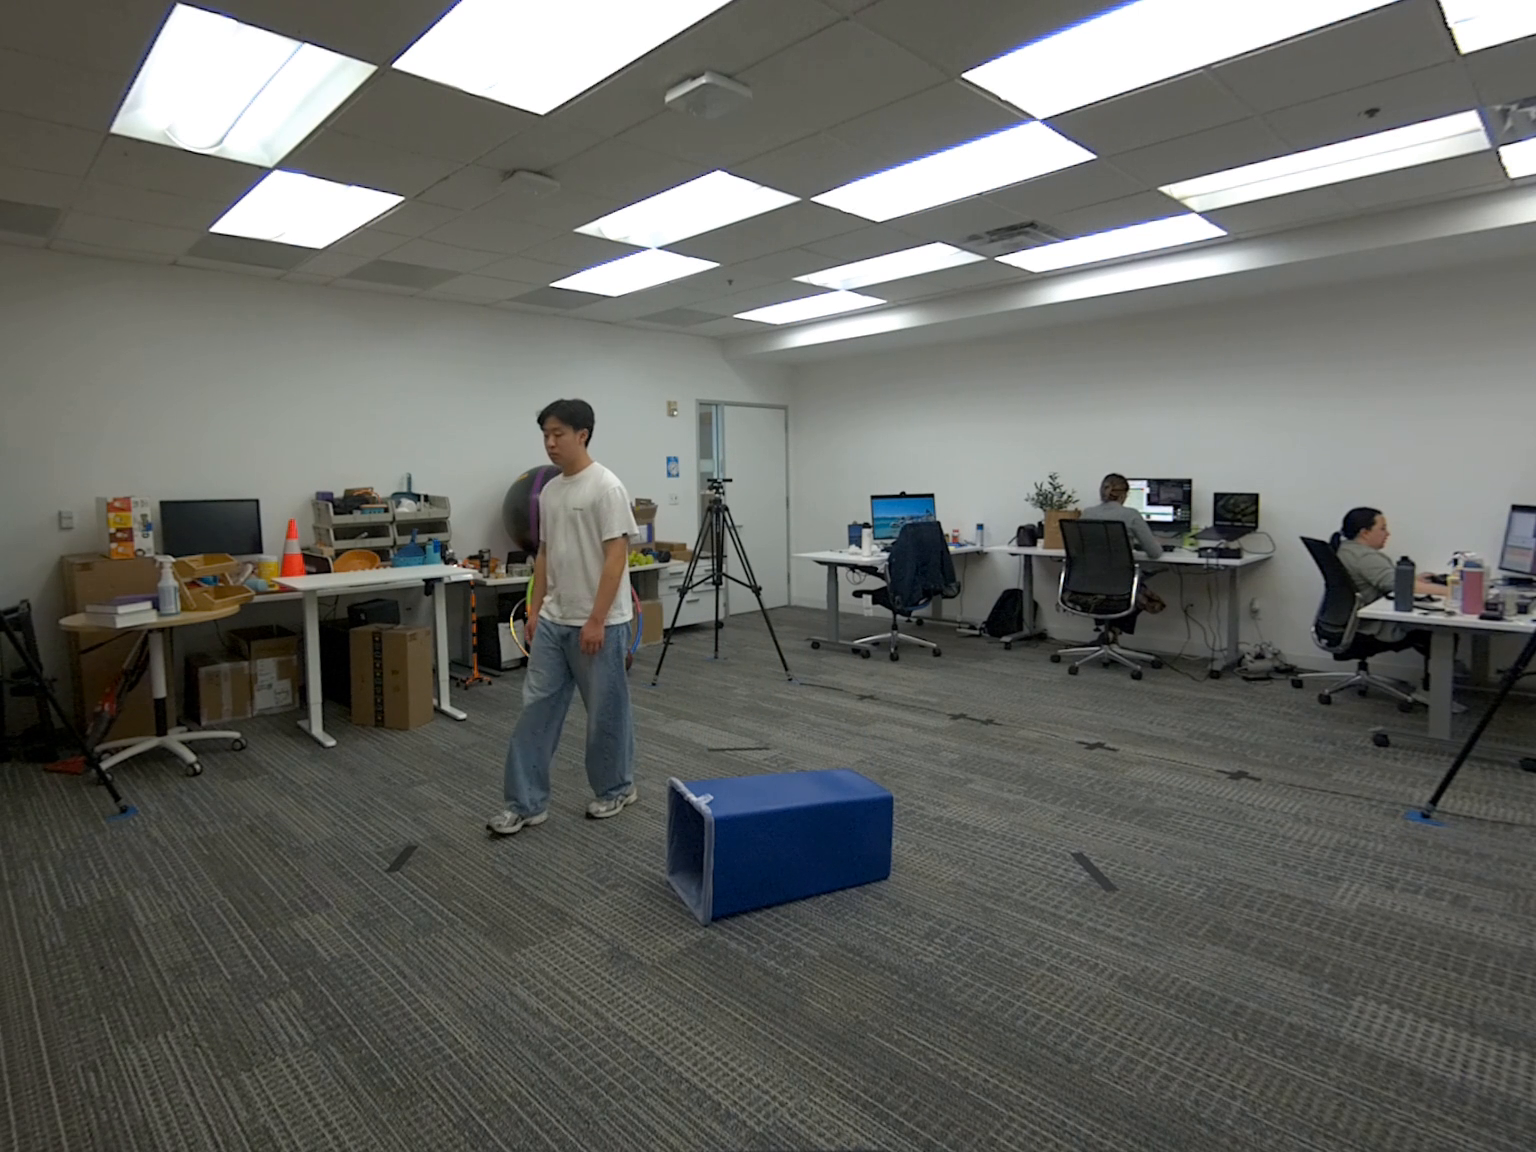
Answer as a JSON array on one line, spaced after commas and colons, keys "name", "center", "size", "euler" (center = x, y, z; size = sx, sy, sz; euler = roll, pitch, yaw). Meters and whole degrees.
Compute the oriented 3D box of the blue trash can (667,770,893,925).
[{"name": "blue trash can", "center": [0.045, 0.895, 2.960], "size": [0.698, 0.377, 0.383], "euler": [-1, 4, -25]}]
